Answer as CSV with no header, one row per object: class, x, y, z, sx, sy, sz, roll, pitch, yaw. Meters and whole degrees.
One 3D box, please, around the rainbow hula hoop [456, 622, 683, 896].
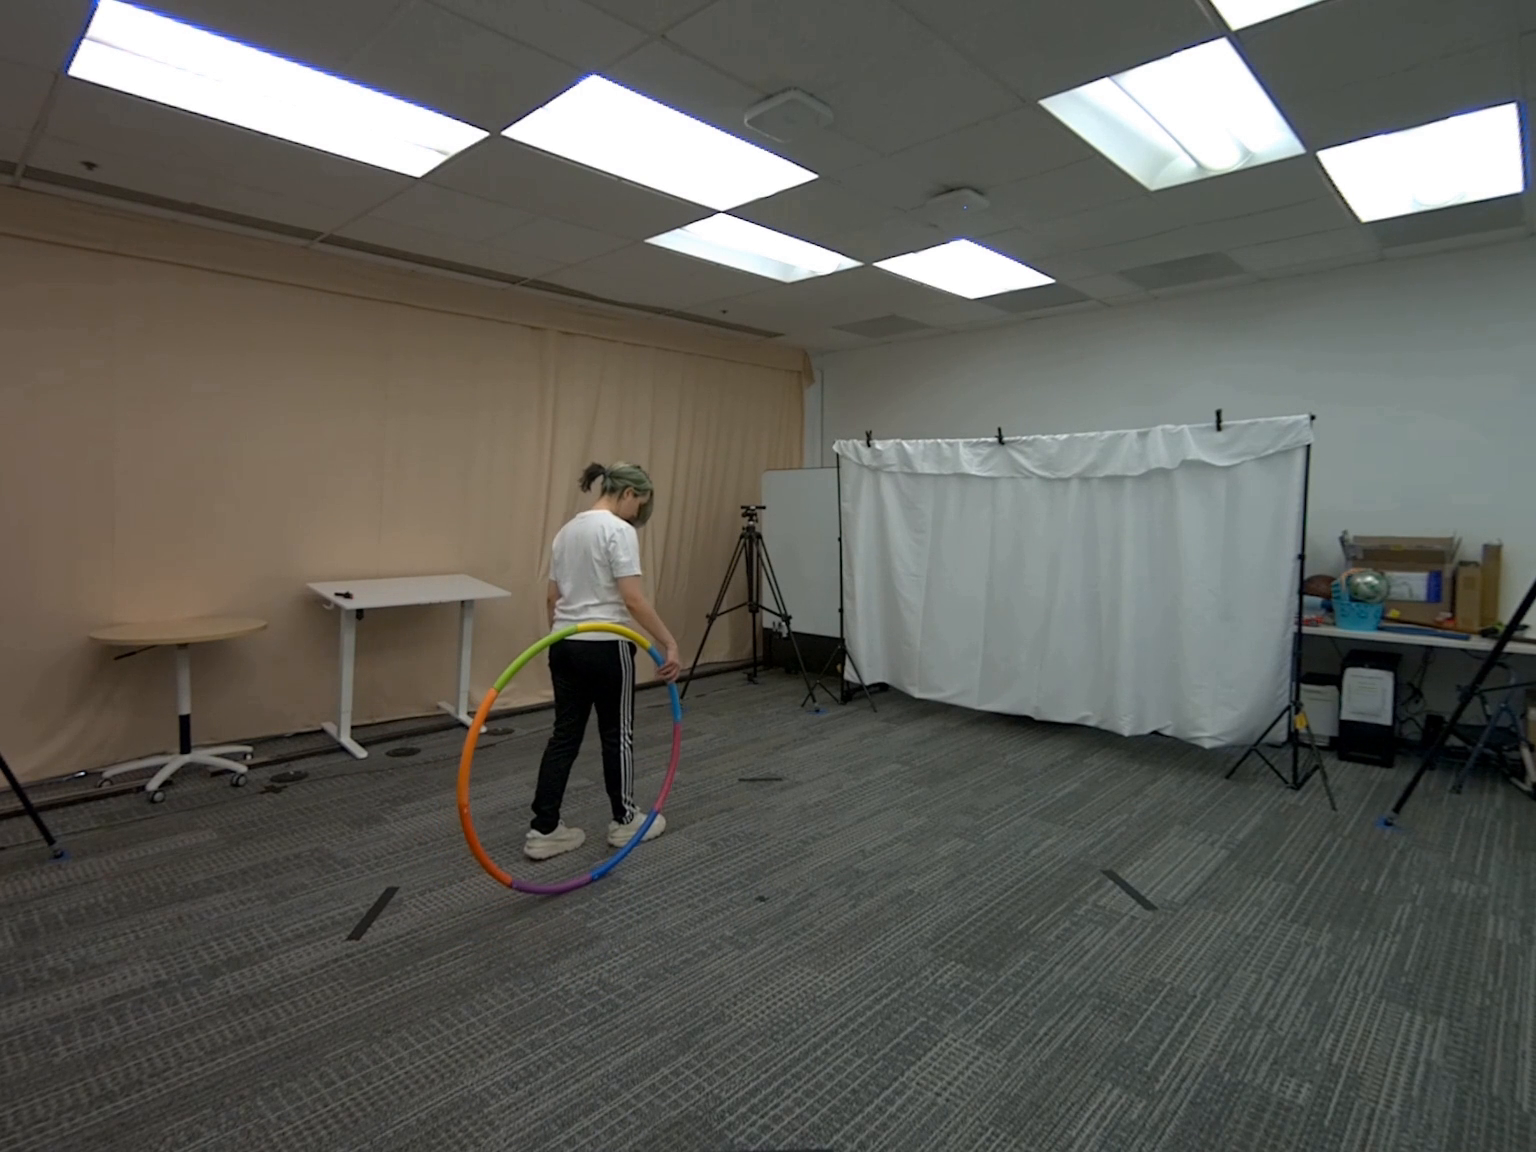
rainbow hula hoop,-0.670,0.657,3.057,0.037,0.975,0.949,7,7,42
